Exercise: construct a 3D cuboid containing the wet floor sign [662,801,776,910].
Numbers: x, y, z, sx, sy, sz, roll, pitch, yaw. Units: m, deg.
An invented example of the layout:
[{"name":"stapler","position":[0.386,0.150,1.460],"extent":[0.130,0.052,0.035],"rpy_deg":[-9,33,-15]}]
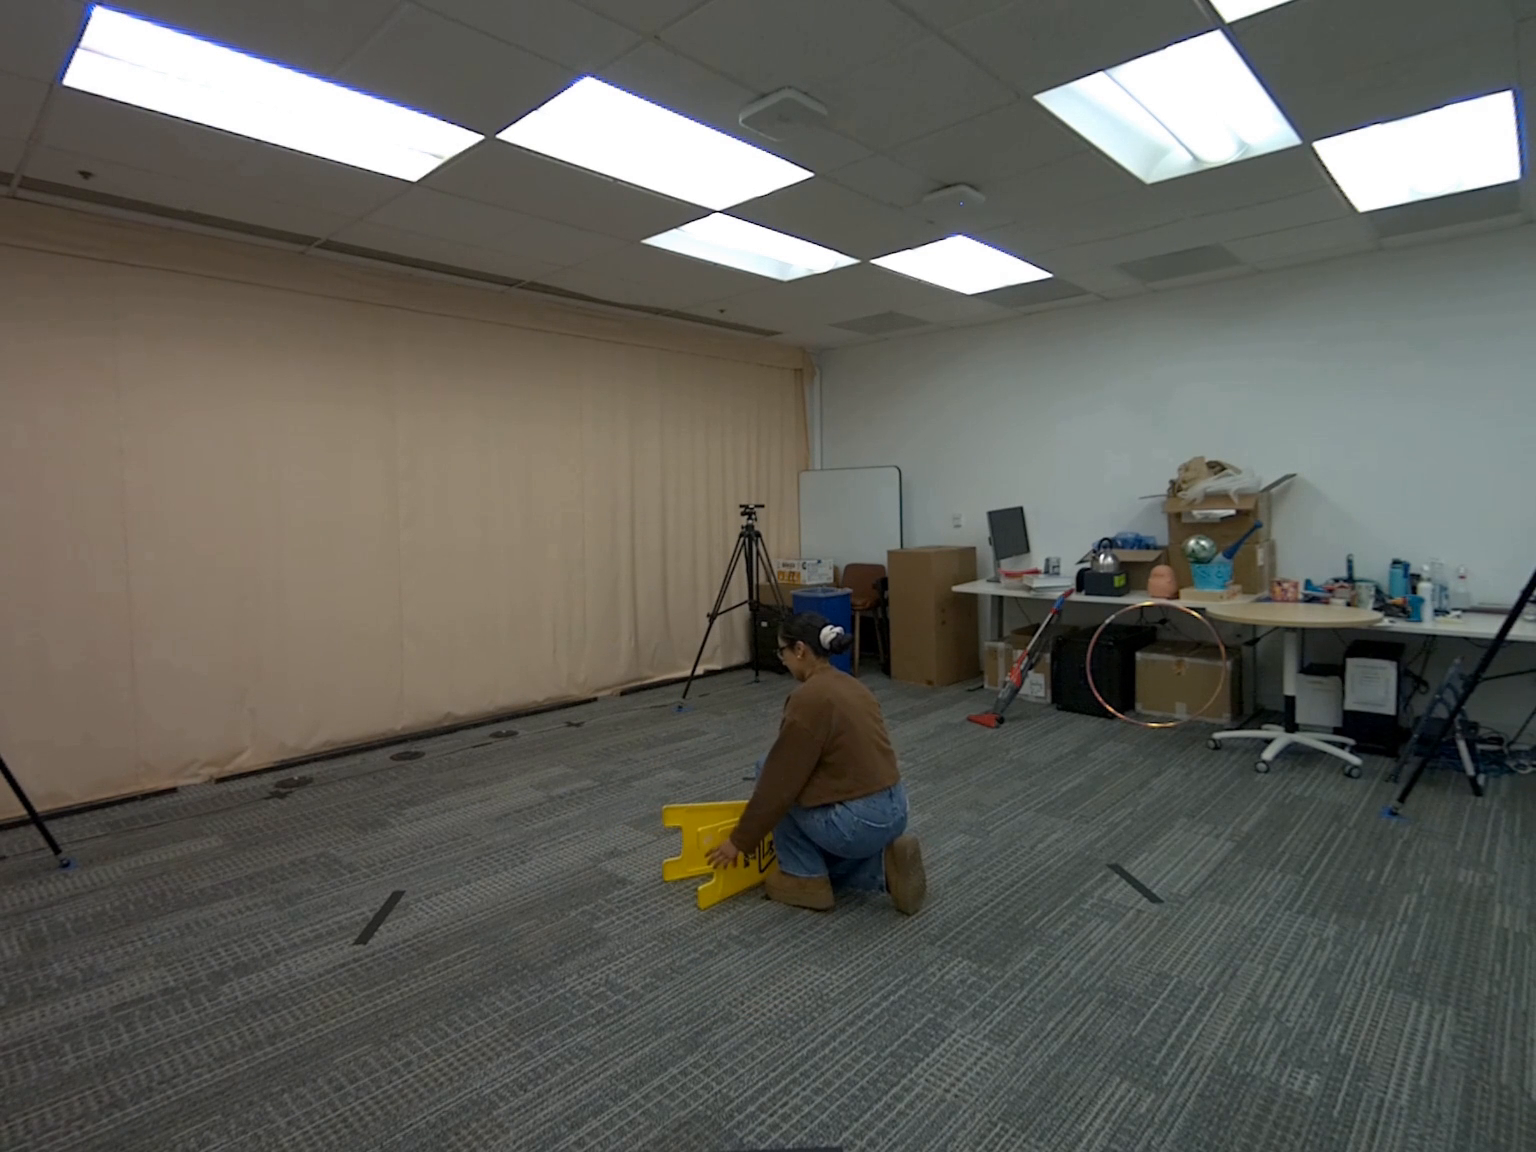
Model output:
[{"name":"wet floor sign","position":[-0.048,0.994,3.181],"extent":[0.628,0.282,0.298],"rpy_deg":[-2,3,-32]}]
